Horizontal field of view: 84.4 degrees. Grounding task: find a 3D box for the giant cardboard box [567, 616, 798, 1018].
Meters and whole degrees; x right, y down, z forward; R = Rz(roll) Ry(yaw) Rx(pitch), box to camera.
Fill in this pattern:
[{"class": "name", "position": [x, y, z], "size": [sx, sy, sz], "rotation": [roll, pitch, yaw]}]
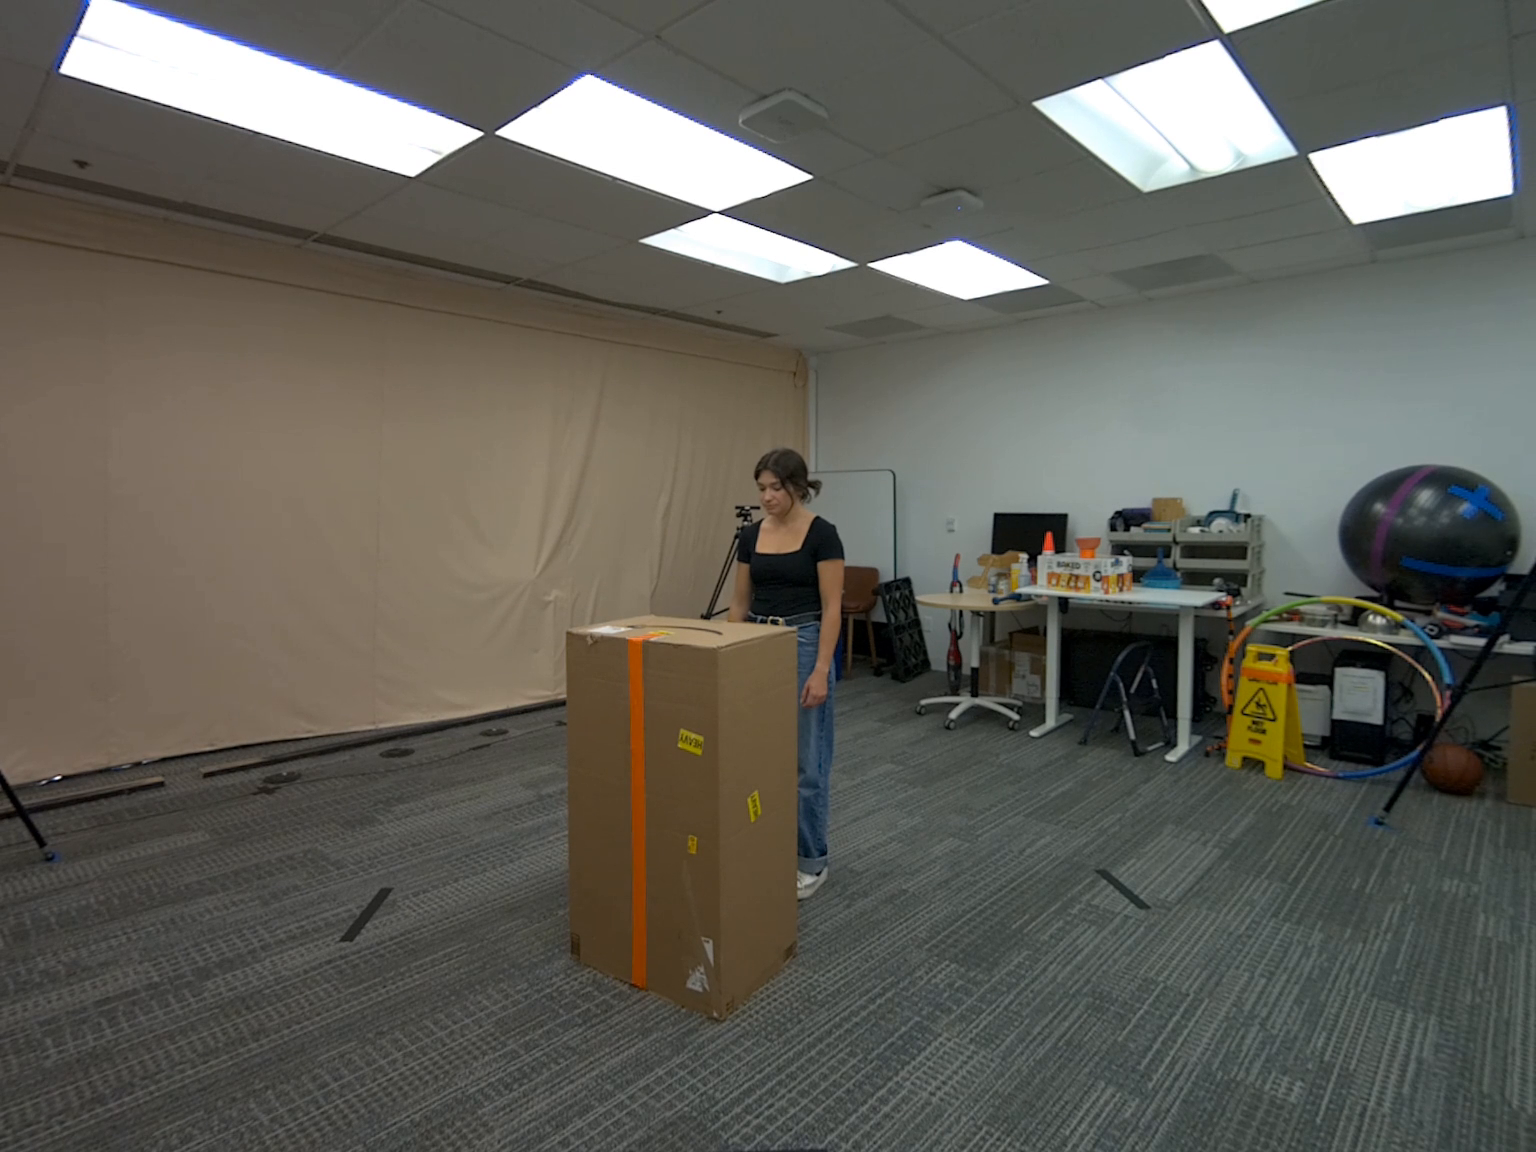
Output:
[{"class": "giant cardboard box", "position": [-0.267, 0.671, 2.576], "size": [0.595, 1.024, 0.414], "rotation": [2, 4, 34]}]
